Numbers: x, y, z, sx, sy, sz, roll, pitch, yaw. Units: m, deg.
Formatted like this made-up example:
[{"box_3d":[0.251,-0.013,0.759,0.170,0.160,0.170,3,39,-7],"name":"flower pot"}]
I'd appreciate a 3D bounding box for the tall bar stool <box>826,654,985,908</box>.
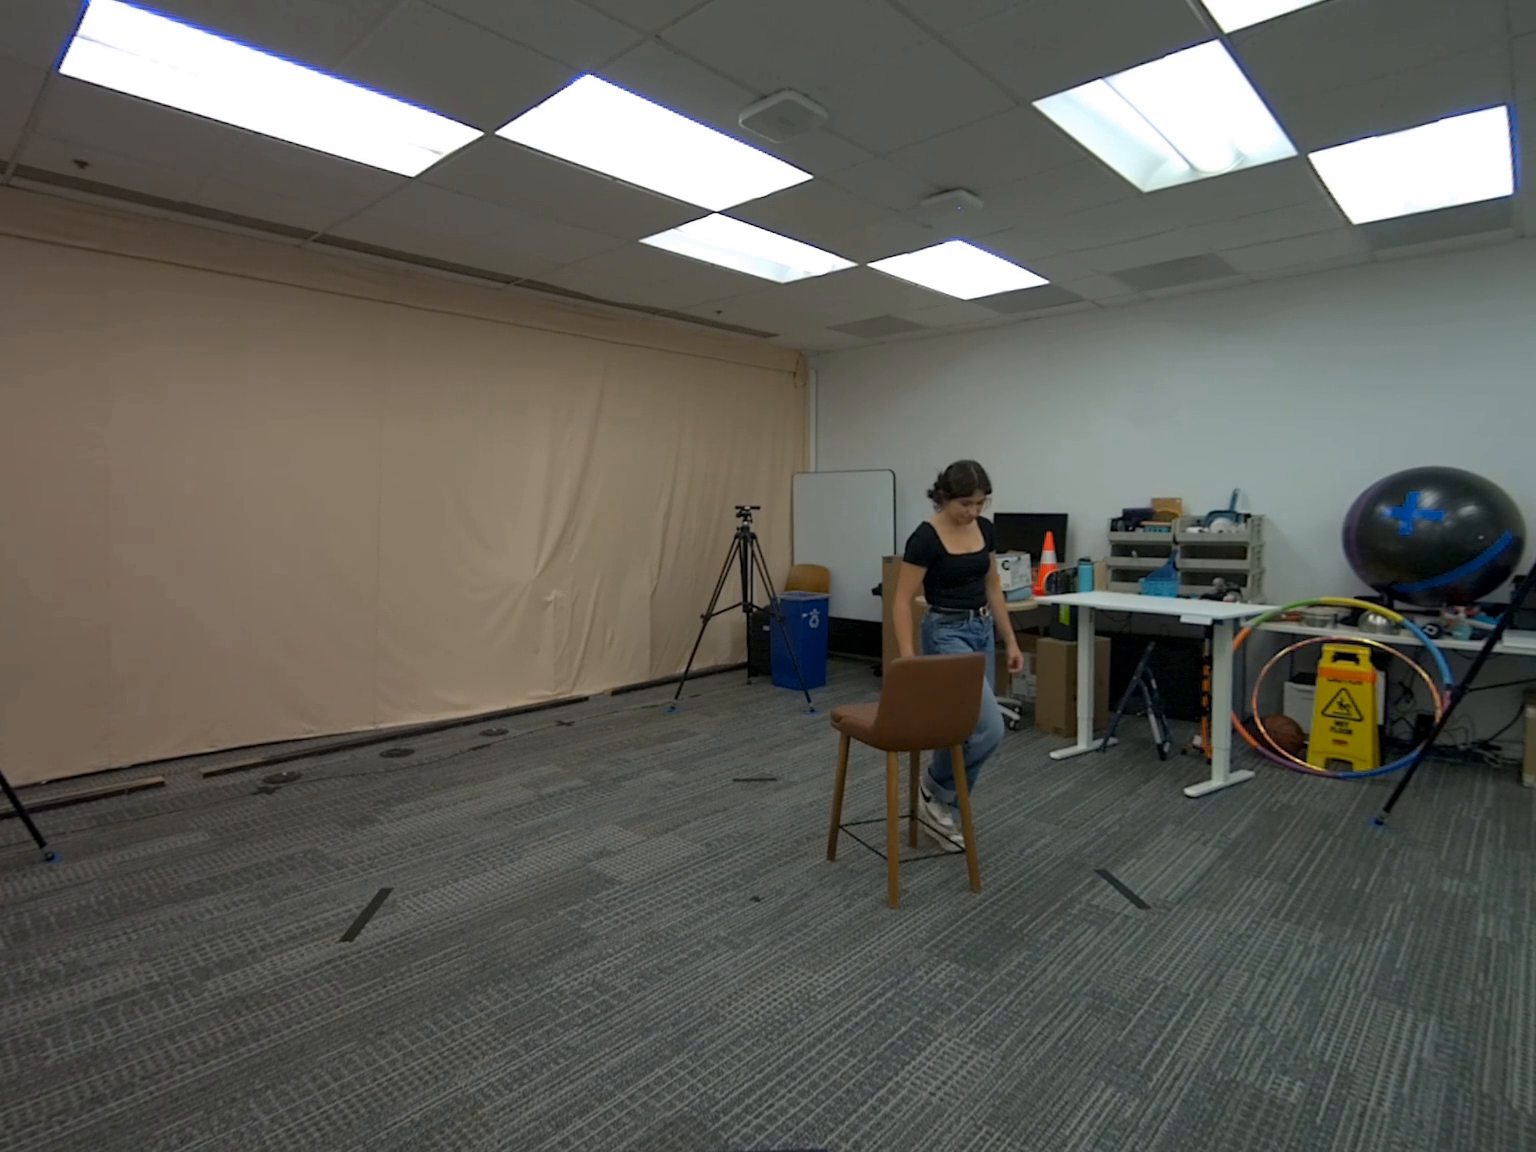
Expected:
[{"box_3d":[0.517,0.691,3.150,0.446,0.887,0.479,-1,5,-23],"name":"tall bar stool"}]
